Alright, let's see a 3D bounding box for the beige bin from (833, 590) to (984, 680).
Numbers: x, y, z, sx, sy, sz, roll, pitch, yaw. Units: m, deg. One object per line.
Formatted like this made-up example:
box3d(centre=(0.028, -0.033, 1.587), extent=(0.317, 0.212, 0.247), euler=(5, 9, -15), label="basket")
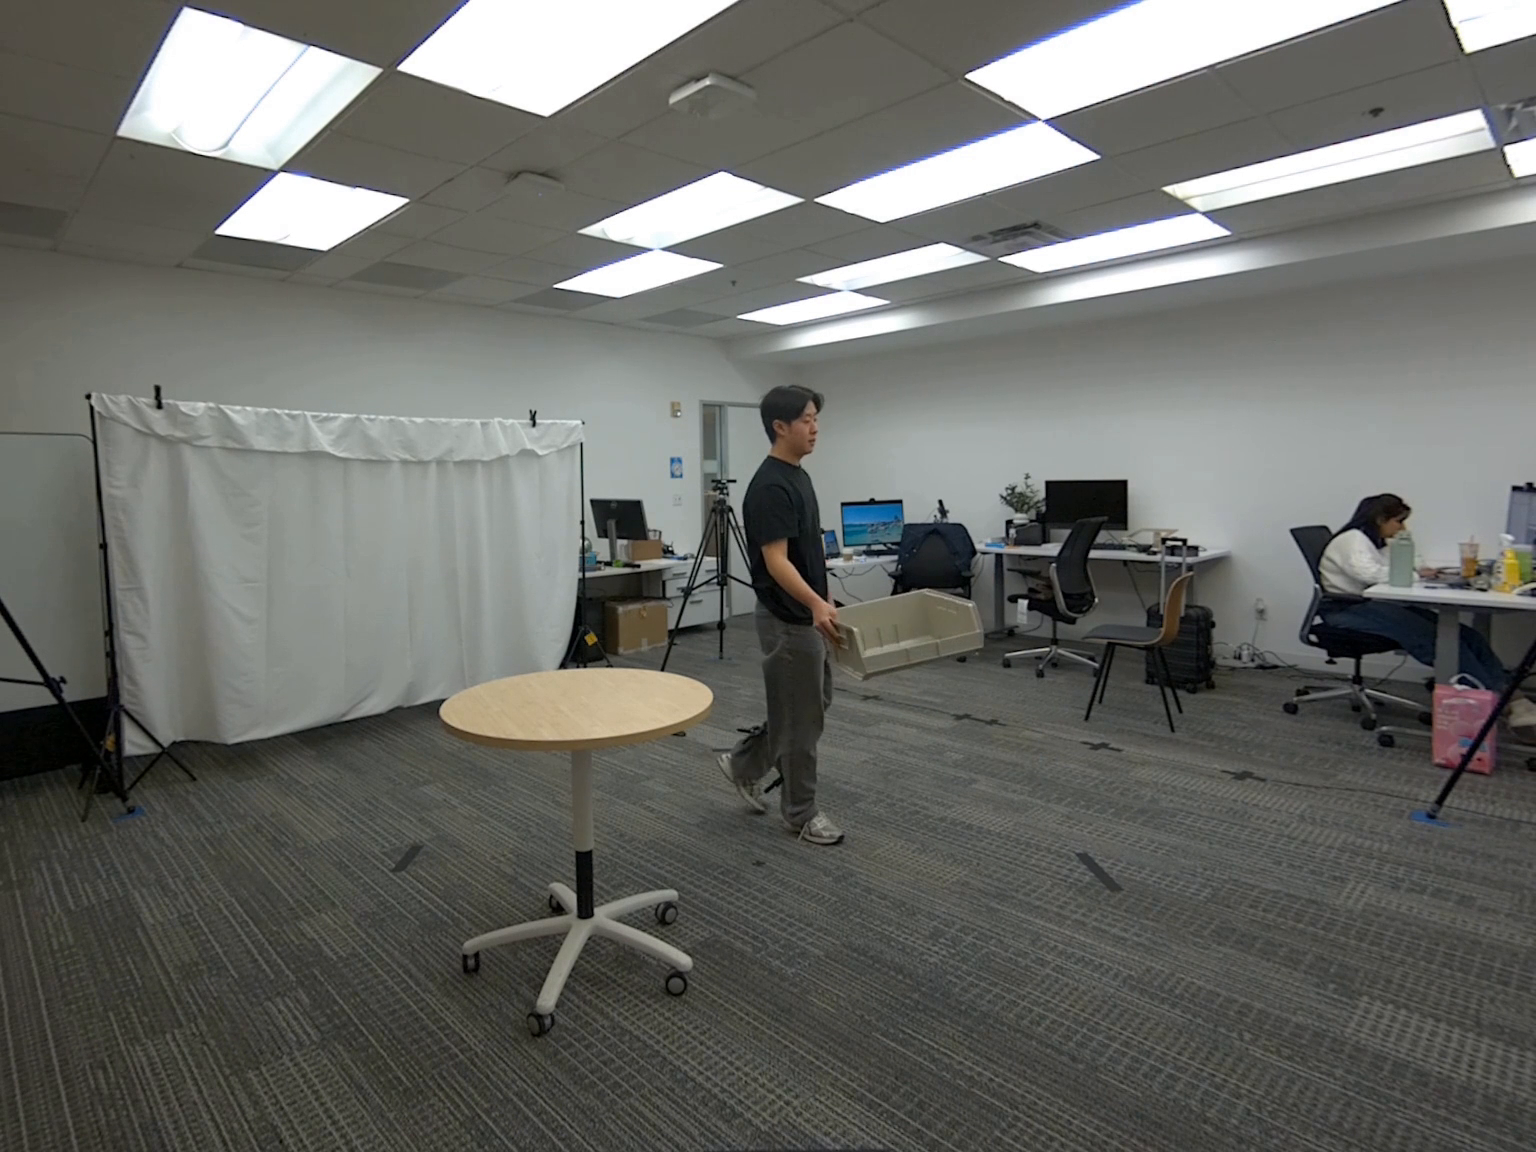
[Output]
box3d(centre=(0.441, 0.197, 2.854), extent=(0.418, 0.188, 0.384), euler=(-12, 8, -14), label="beige bin")
